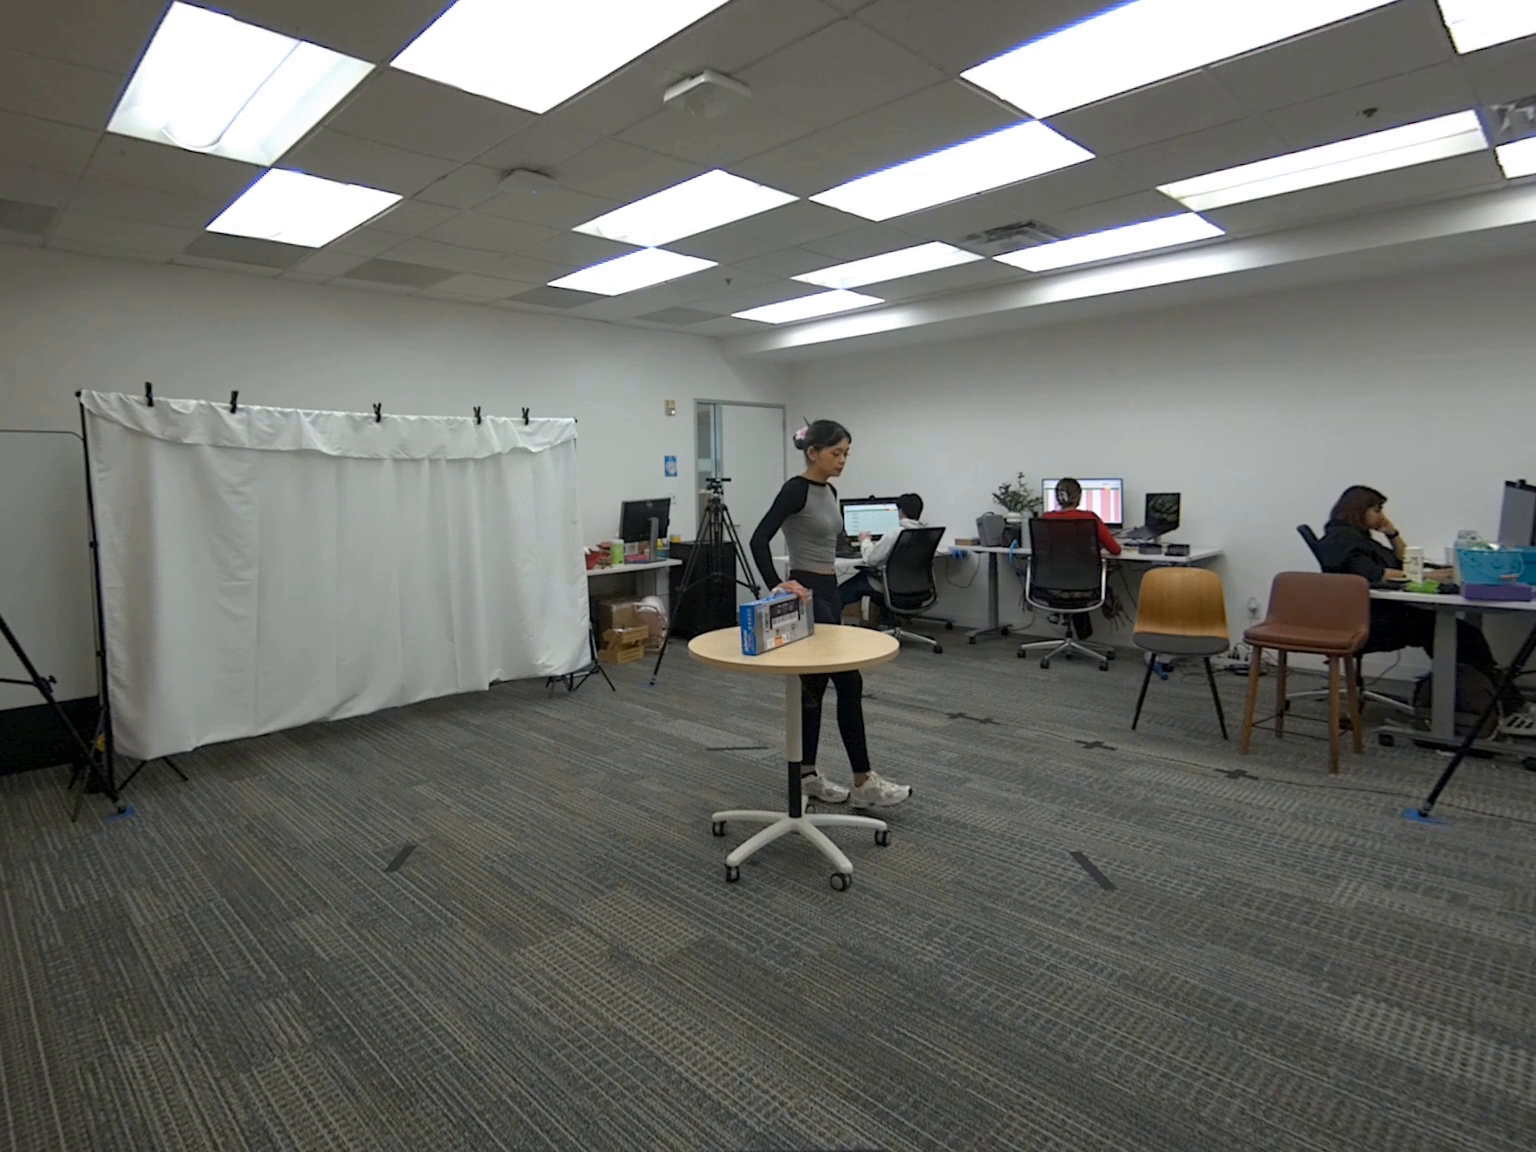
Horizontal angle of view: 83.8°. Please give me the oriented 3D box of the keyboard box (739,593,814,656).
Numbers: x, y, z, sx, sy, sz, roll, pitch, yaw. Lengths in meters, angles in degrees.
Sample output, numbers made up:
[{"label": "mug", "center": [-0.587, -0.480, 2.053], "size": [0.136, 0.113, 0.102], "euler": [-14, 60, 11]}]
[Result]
[{"label": "keyboard box", "center": [0.041, 0.162, 3.098], "size": [0.060, 0.175, 0.427], "euler": [-1, 5, 31]}]
